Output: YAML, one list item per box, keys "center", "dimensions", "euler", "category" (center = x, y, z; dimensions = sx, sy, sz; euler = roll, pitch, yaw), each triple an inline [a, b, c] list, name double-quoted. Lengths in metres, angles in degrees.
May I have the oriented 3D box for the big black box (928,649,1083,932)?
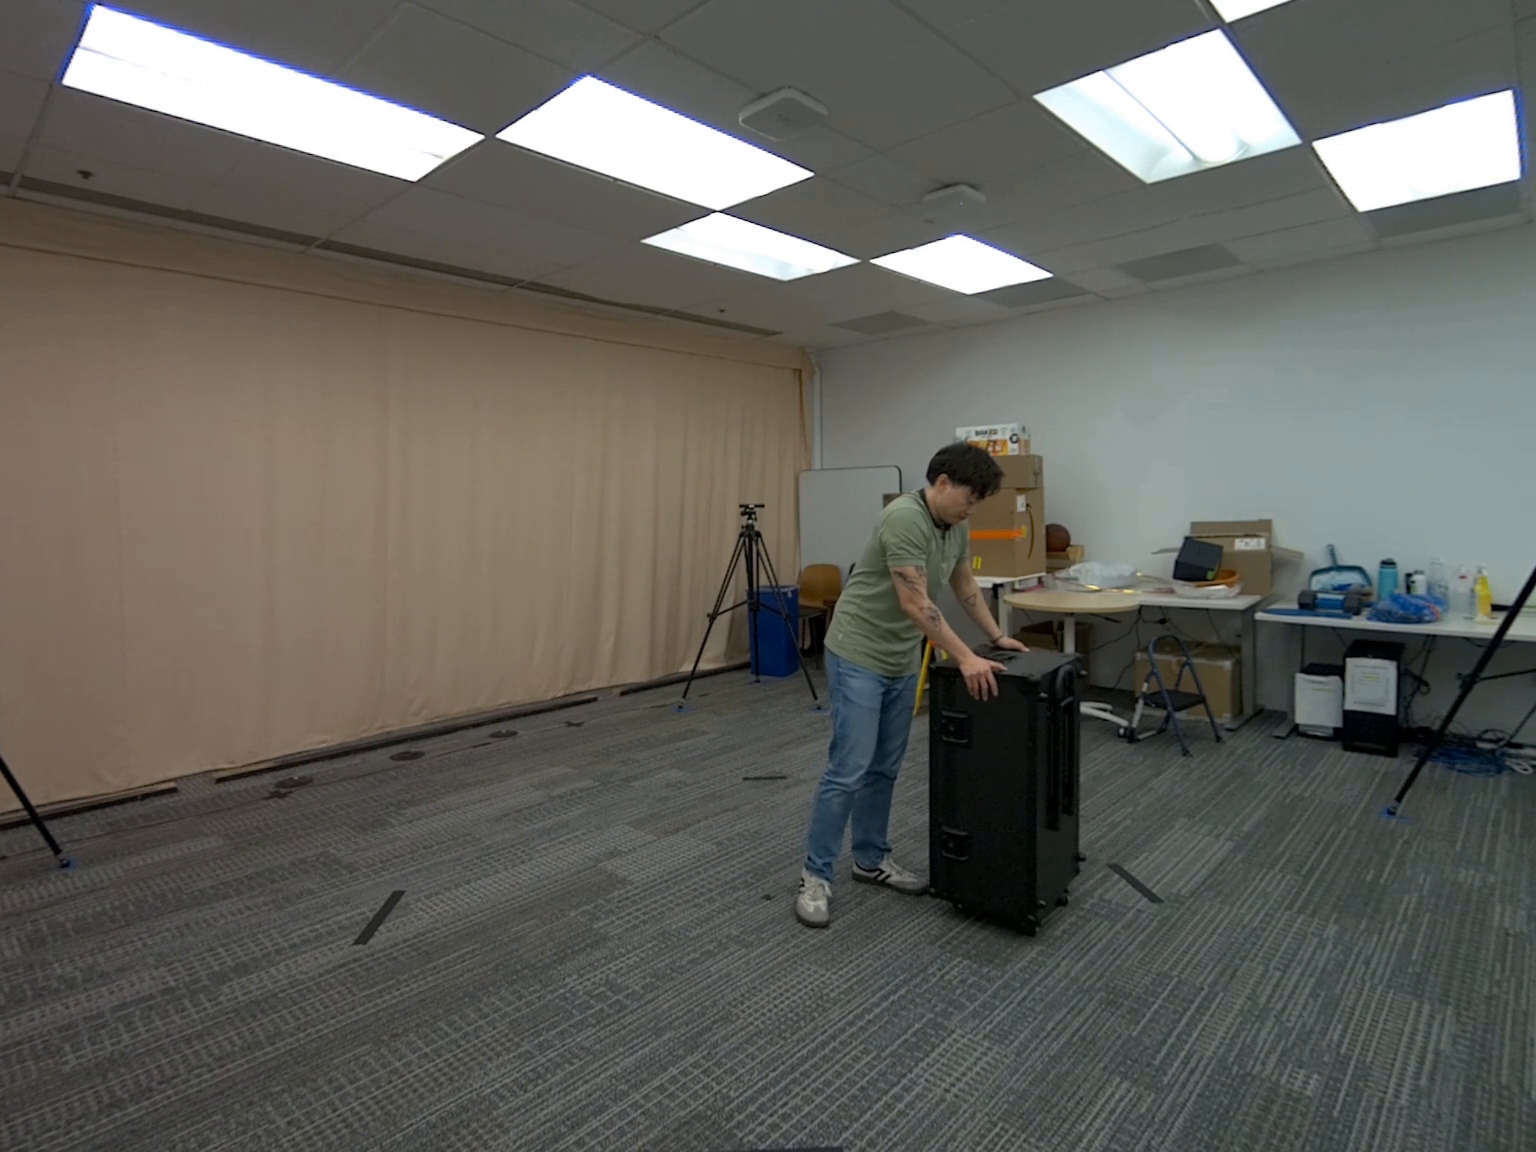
- center: [0.838, 0.709, 2.872]
  dimensions: [0.409, 0.859, 0.506]
  euler: [3, 5, 38]
  category: "big black box"
